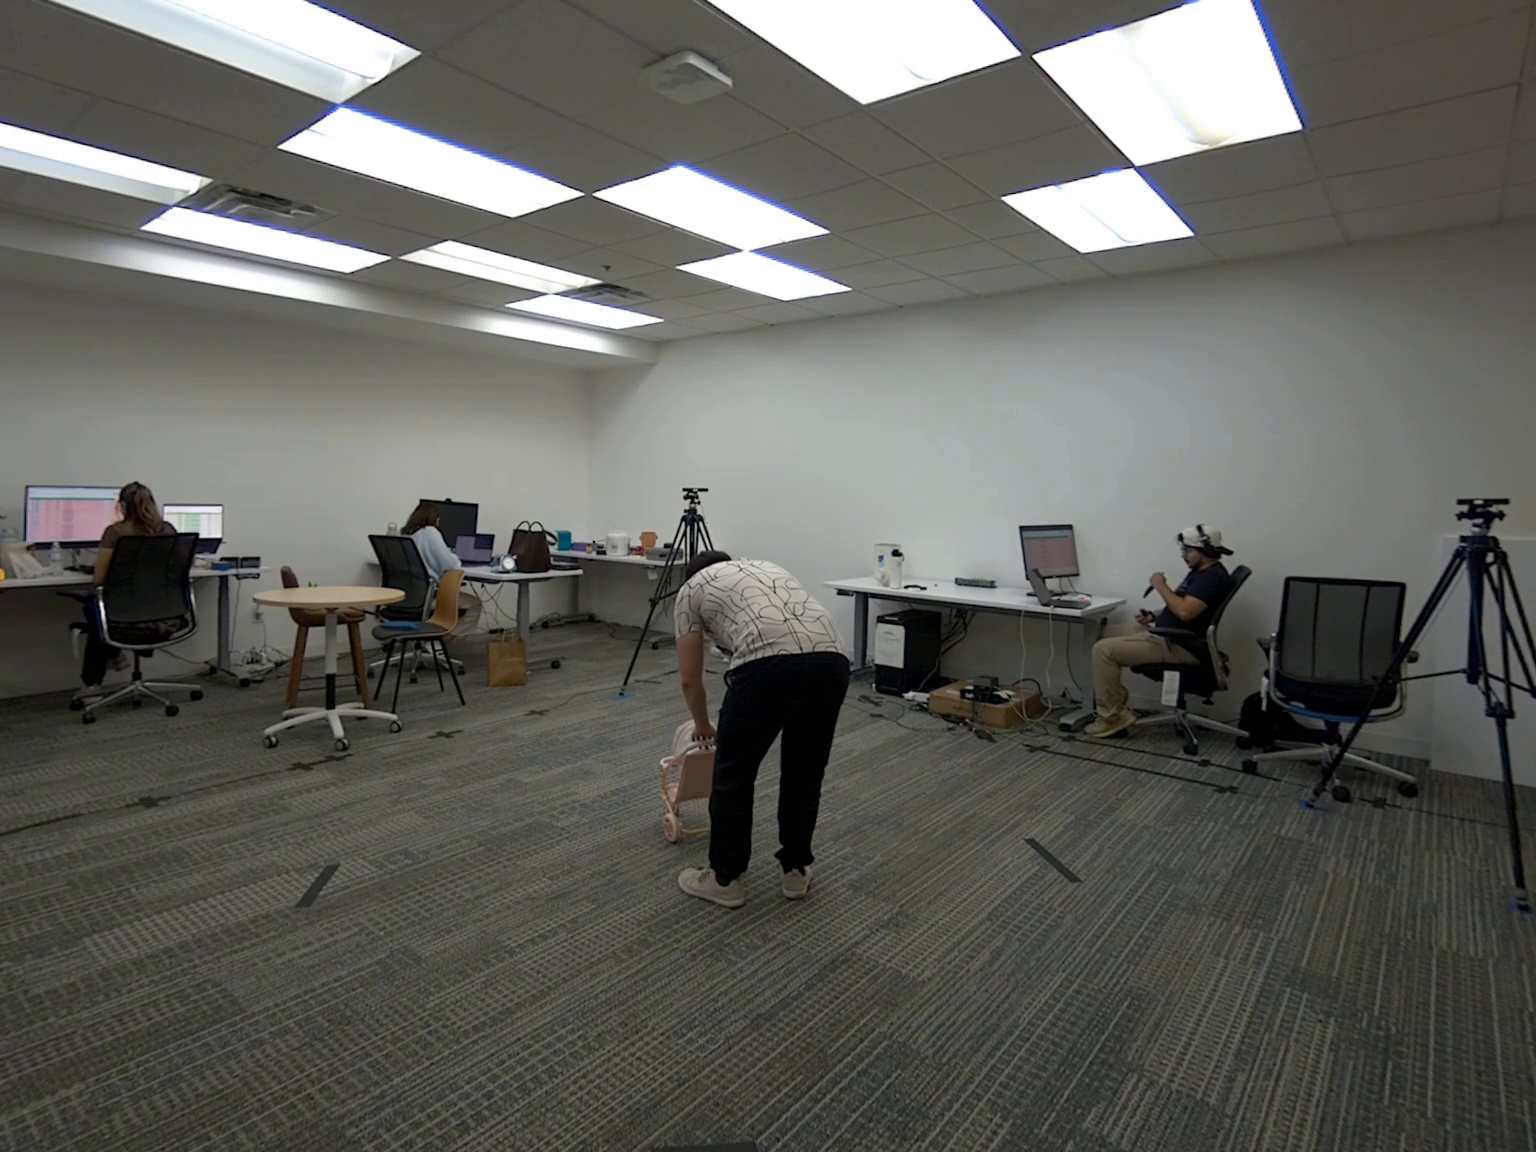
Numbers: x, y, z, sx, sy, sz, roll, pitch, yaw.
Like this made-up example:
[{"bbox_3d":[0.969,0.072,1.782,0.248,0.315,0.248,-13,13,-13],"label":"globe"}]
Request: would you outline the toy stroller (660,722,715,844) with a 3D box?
[{"bbox_3d":[-0.312,0.807,3.452,0.275,0.527,0.354,0,20,-24],"label":"toy stroller"}]
